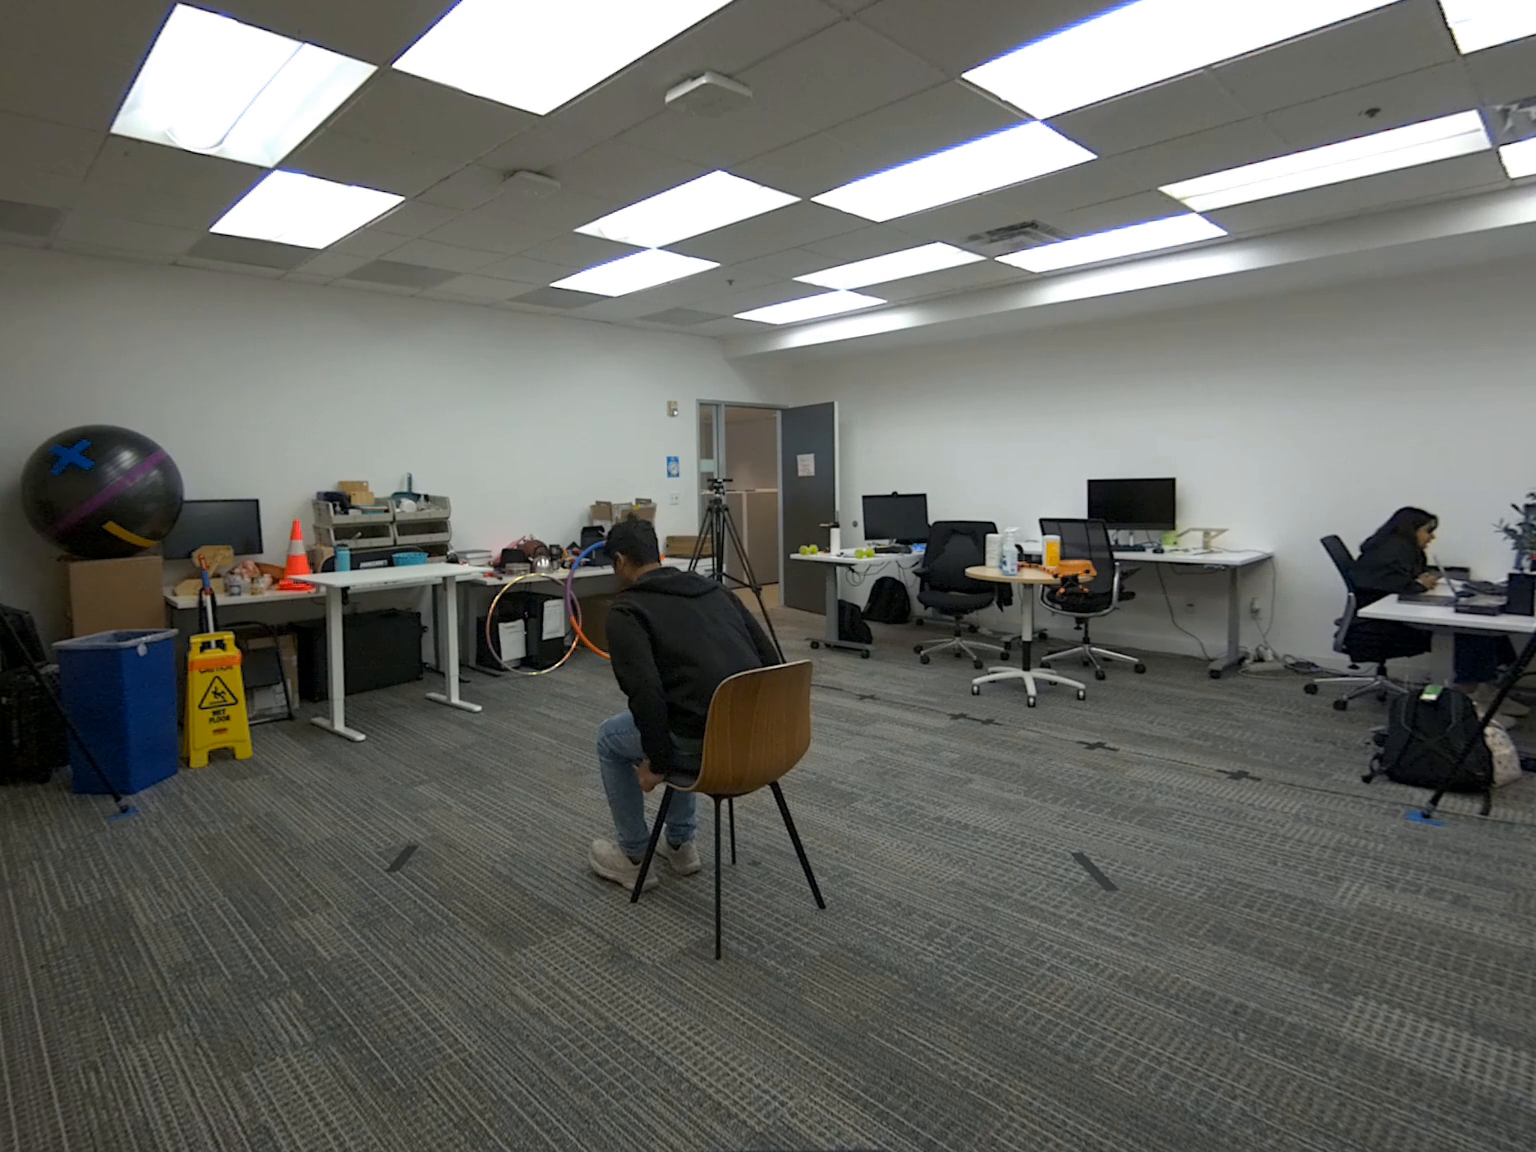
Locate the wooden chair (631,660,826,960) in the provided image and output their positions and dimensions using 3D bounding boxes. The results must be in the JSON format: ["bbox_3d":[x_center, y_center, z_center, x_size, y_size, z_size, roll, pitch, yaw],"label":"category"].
[{"bbox_3d":[-0.143,0.656,2.781,0.466,0.872,0.540,-5,10,-41],"label":"wooden chair"}]
